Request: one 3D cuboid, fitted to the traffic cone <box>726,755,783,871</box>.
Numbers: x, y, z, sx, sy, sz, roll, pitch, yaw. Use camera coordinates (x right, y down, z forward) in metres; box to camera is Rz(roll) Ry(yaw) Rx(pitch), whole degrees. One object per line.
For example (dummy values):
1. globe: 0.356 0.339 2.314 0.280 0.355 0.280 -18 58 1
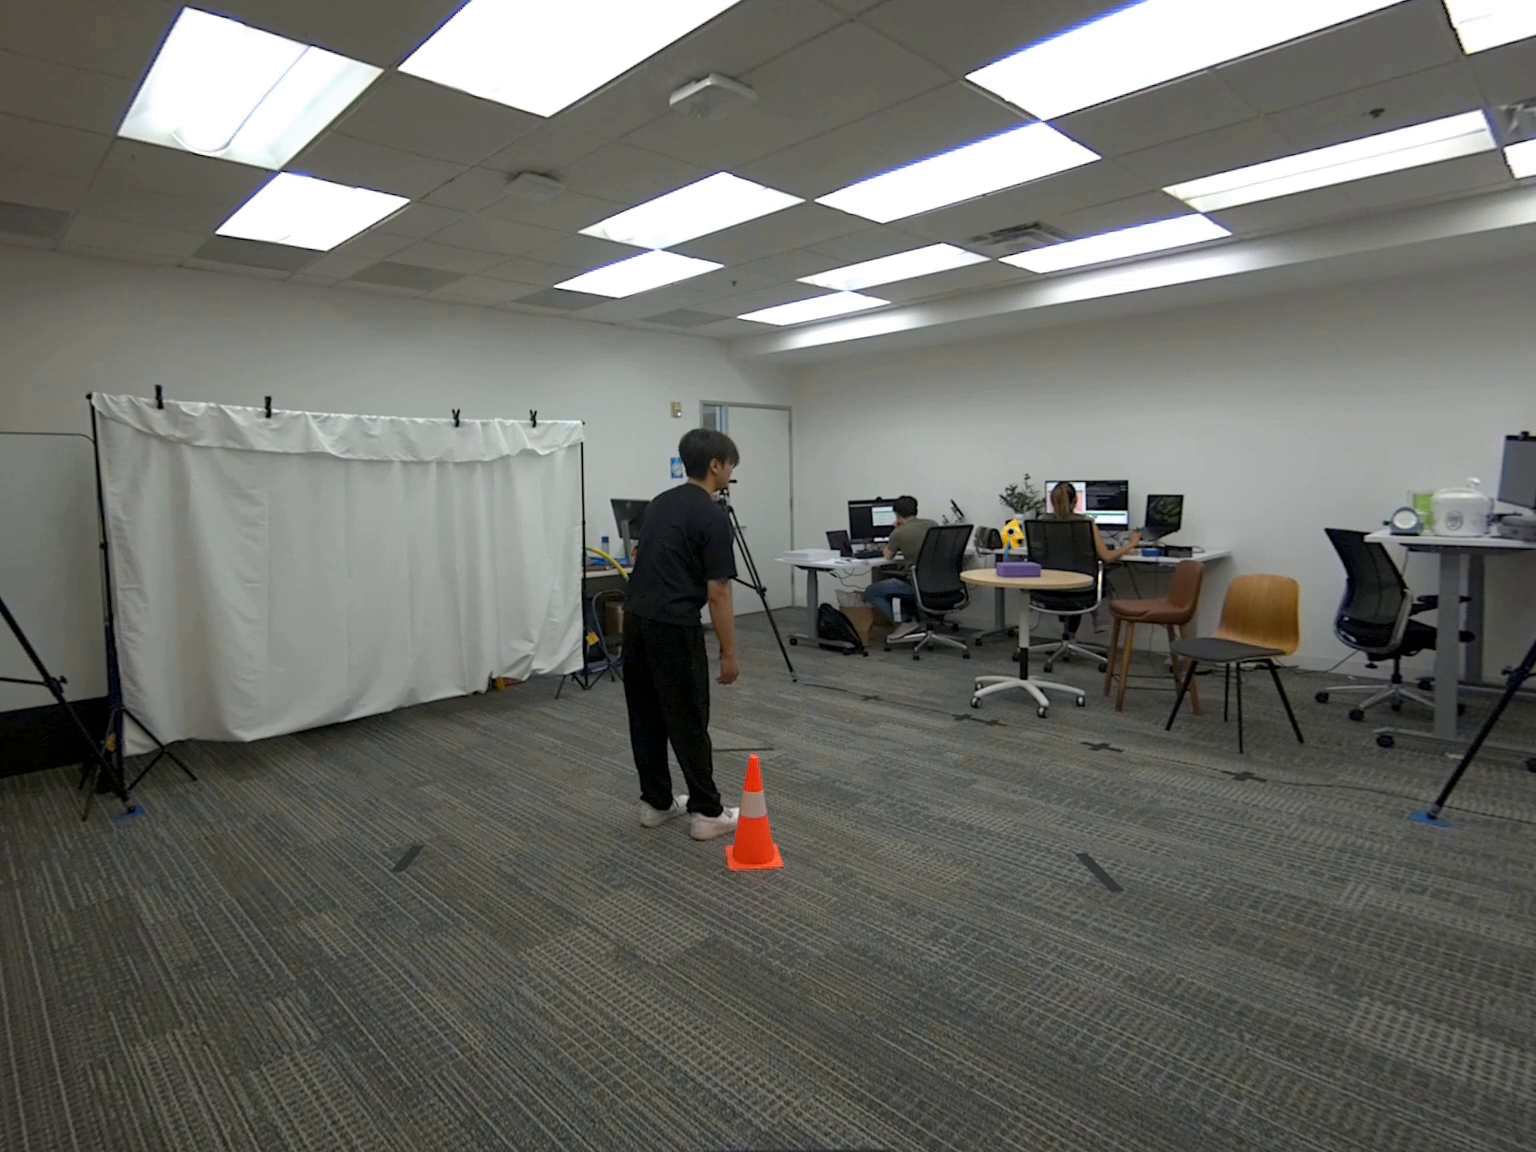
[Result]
1. traffic cone: -0.050 0.859 3.152 0.203 0.382 0.206 -1 4 -2
